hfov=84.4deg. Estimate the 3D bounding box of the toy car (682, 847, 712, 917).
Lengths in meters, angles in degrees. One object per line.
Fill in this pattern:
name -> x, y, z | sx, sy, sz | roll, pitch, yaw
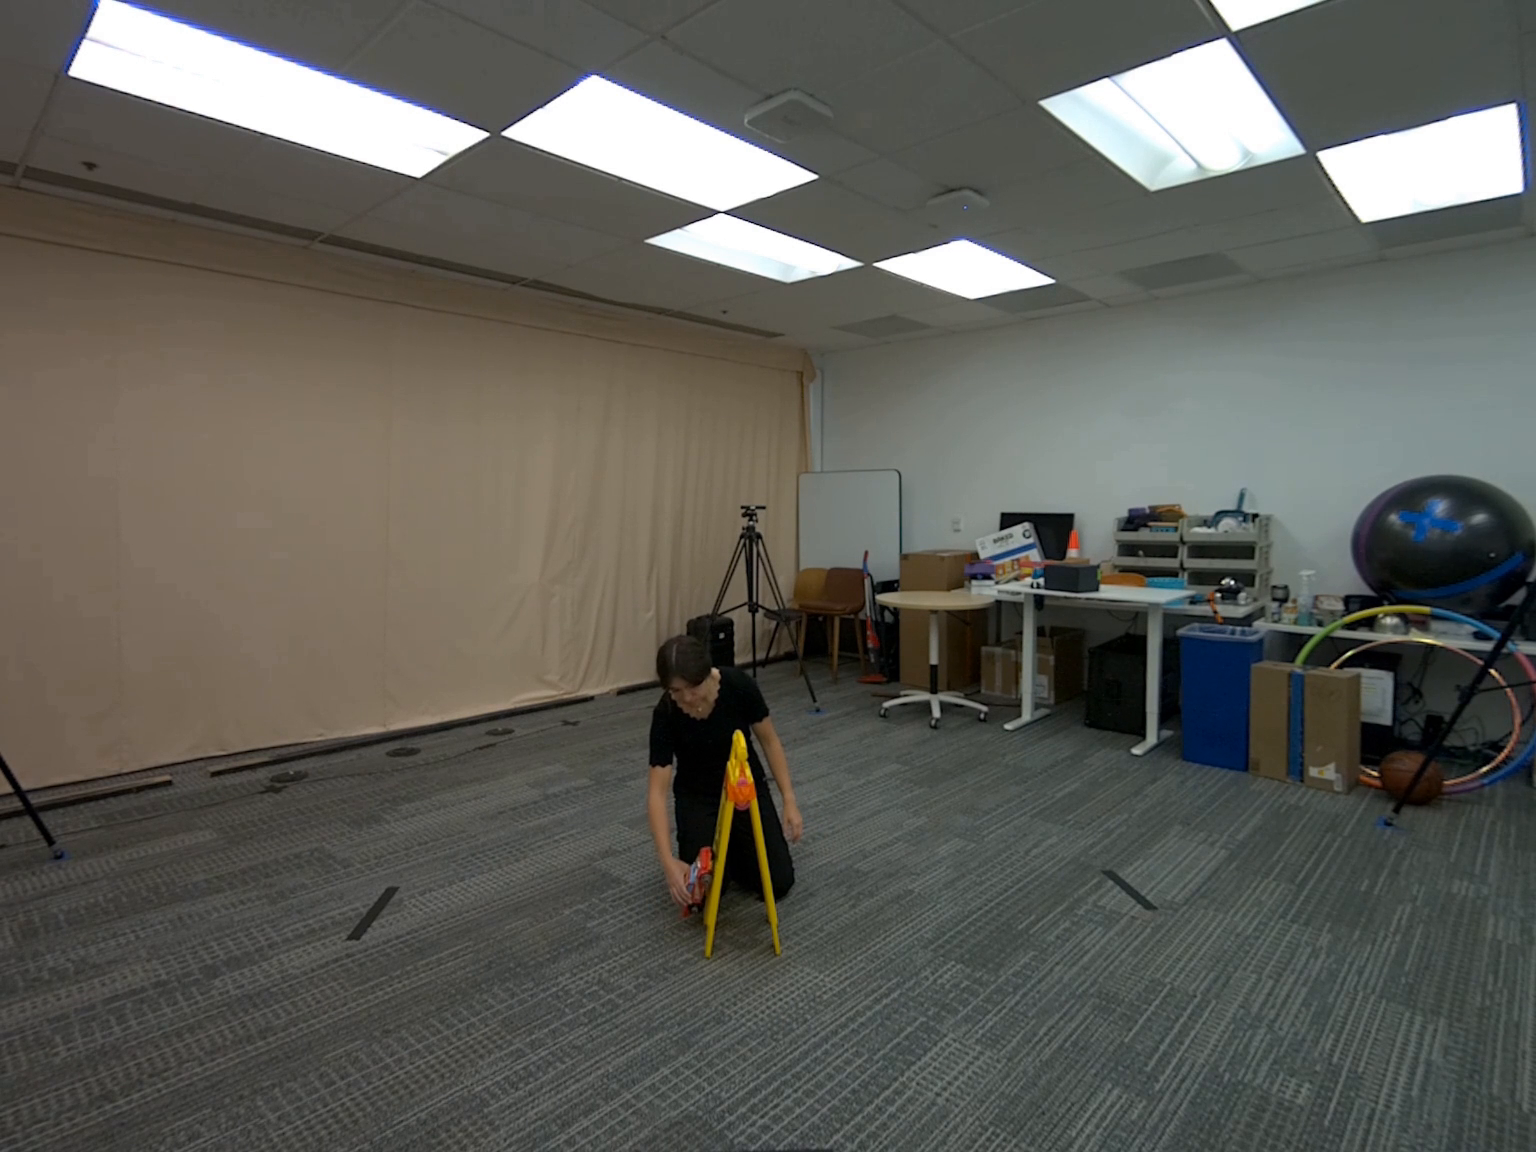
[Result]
toy car -> -0.229, 0.999, 2.747 | 0.082, 0.254, 0.132 | 20, 27, -11
